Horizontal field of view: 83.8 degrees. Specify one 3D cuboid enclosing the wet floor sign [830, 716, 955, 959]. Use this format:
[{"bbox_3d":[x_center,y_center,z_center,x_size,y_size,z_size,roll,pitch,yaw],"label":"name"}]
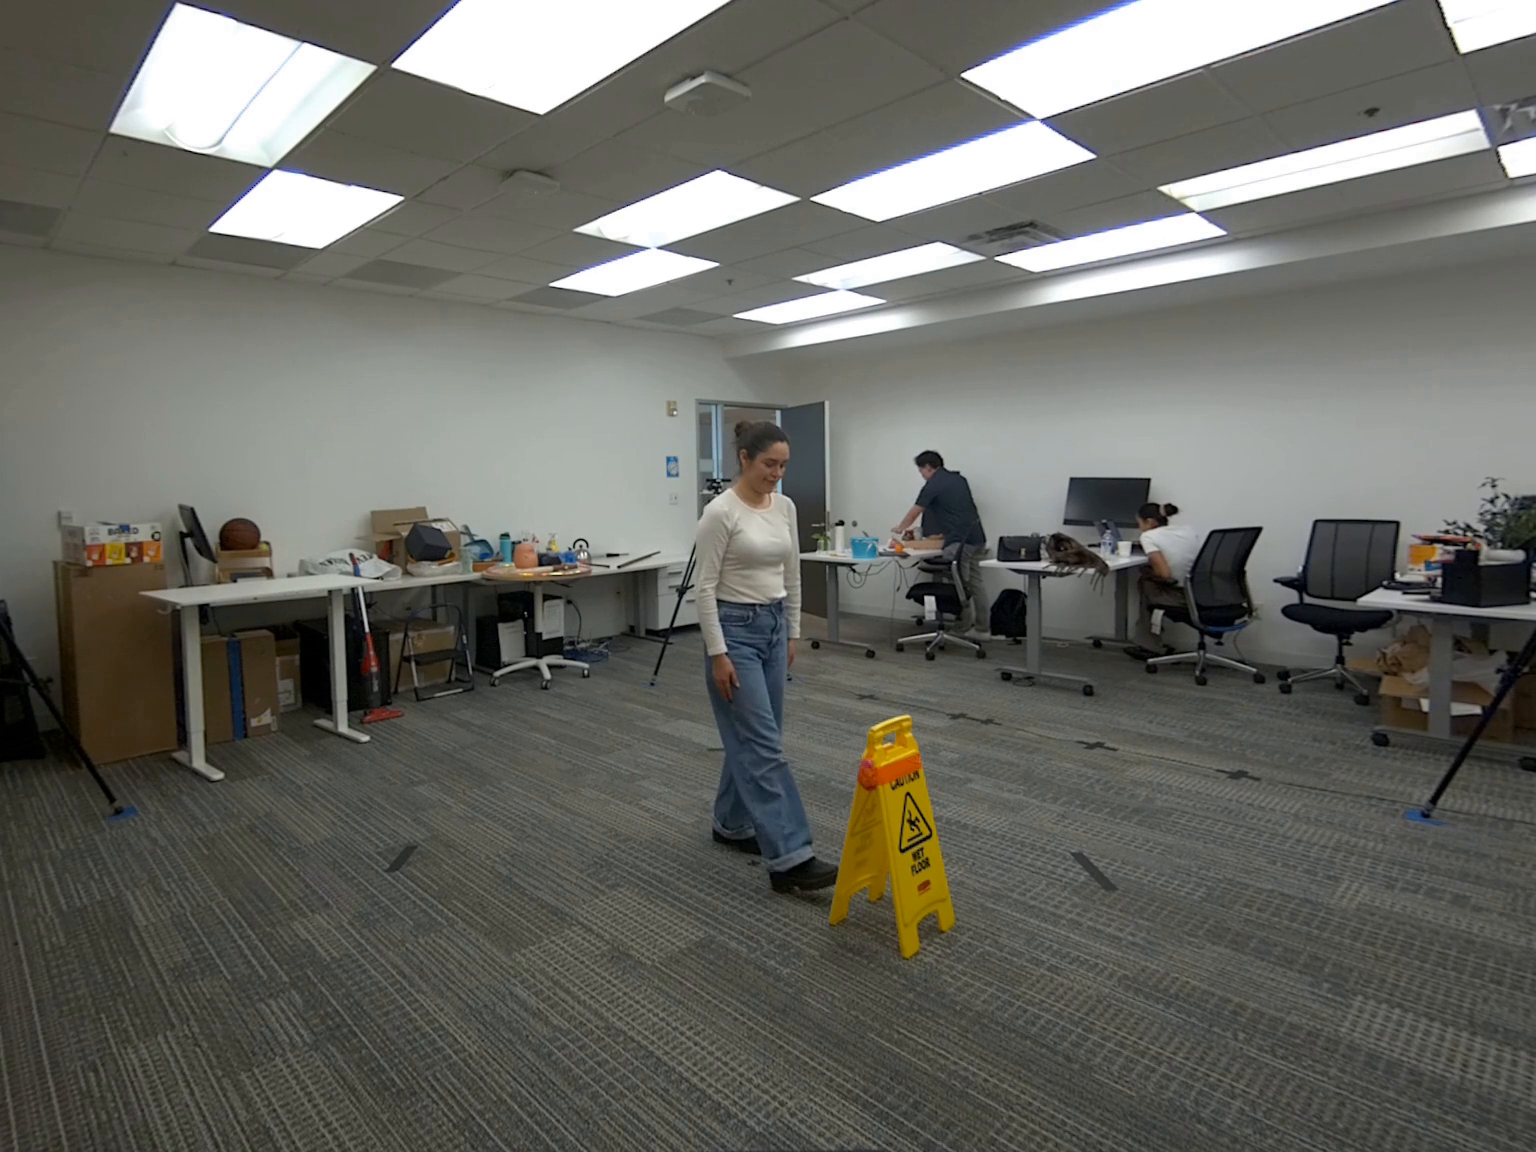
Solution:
[{"bbox_3d":[0.387,0.766,2.643,0.299,0.643,0.275,4,7,44],"label":"wet floor sign"}]
